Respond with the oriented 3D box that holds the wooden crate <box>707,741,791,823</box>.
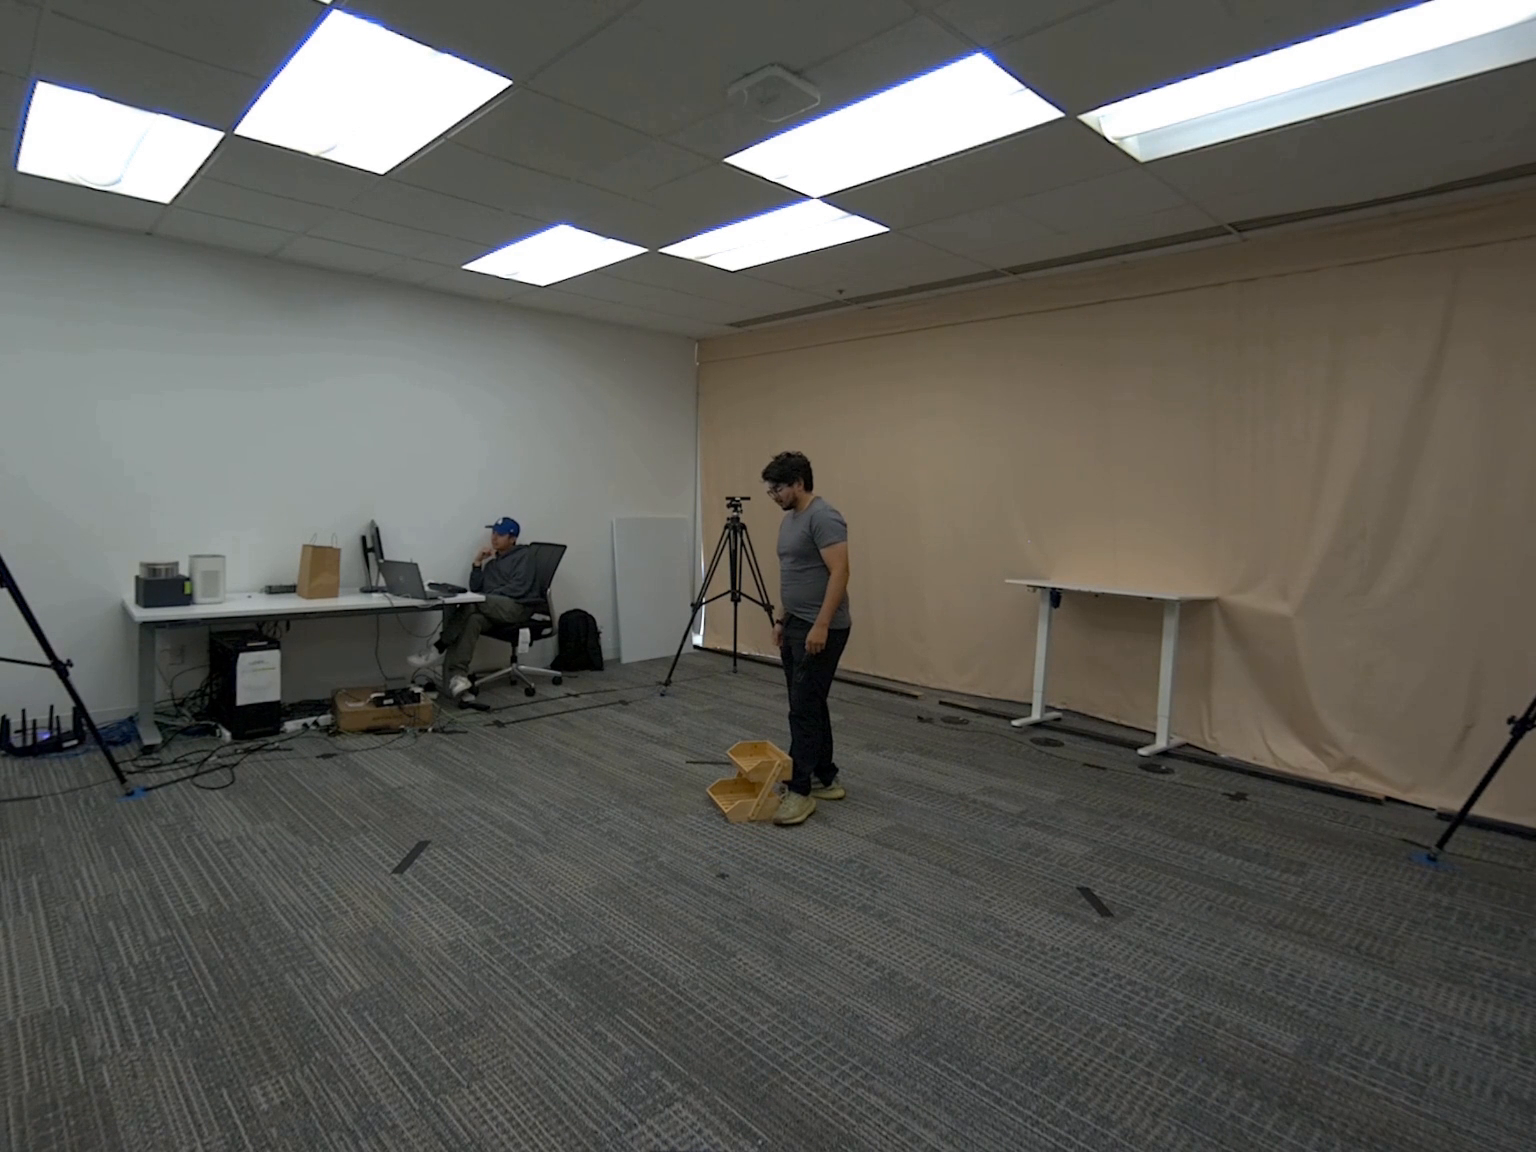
[{"bbox_3d":[-0.103,0.914,3.796,0.297,0.273,0.330,1,4,-19],"label":"wooden crate"}]
